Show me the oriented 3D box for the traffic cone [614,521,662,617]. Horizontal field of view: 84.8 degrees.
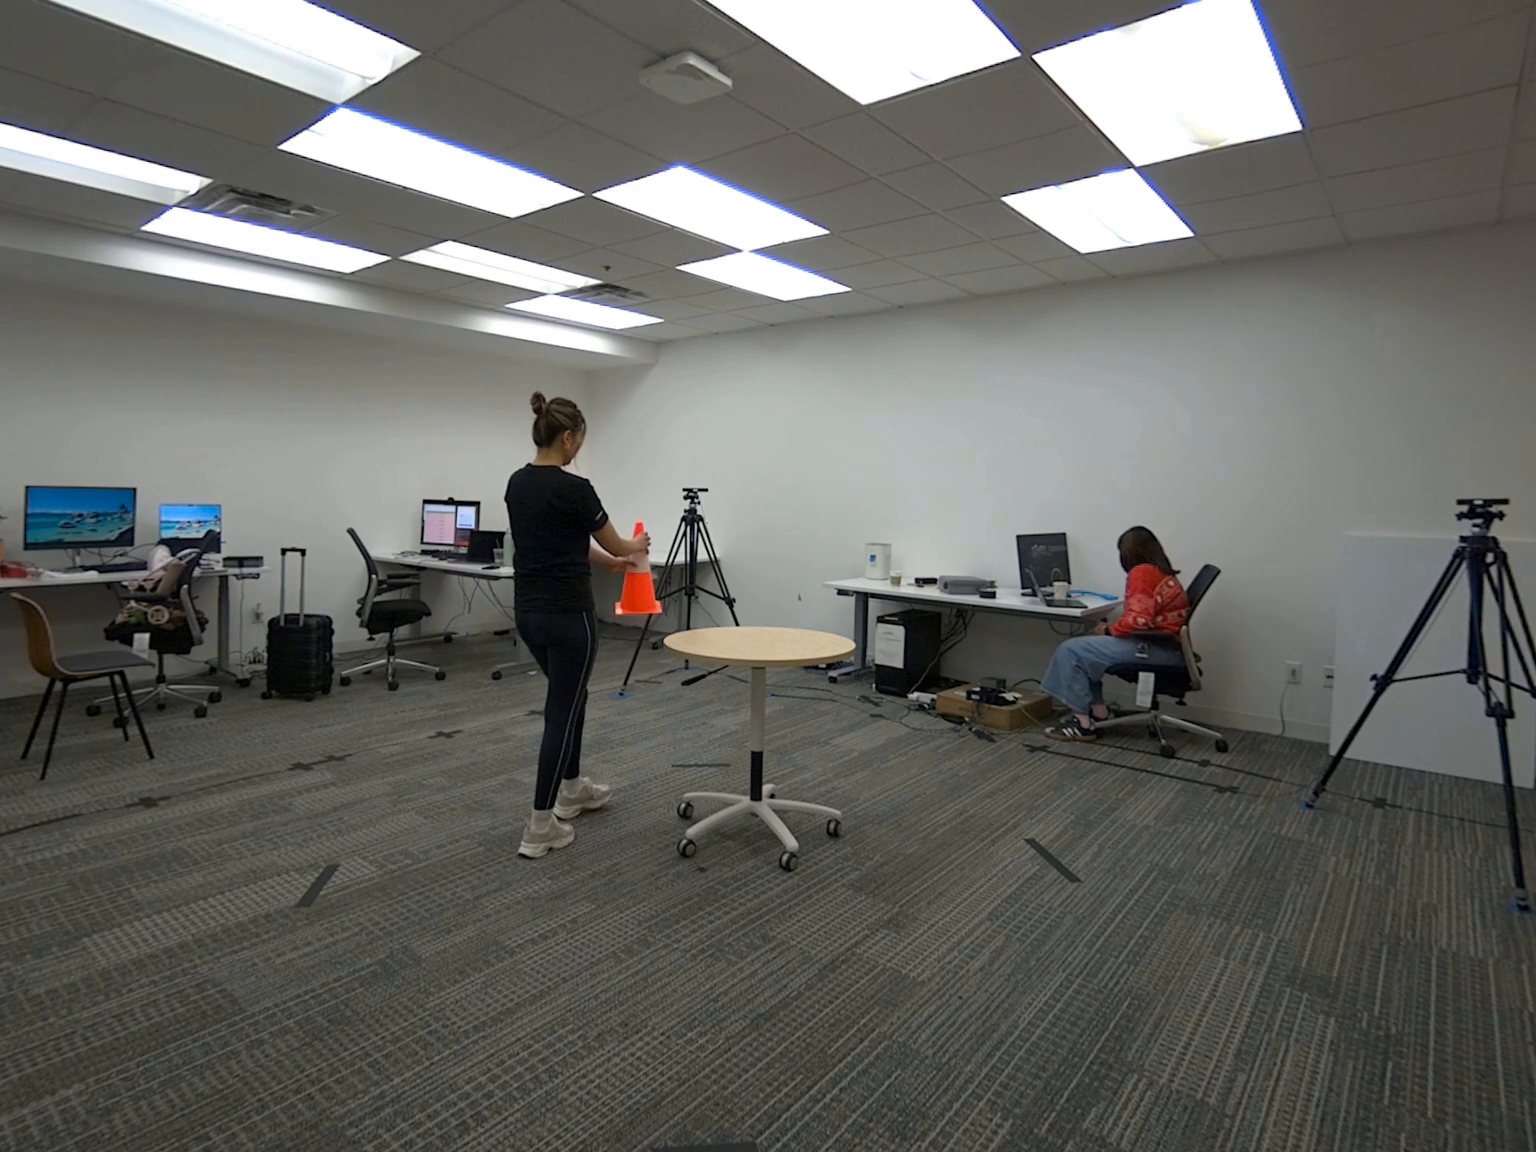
[{"bbox_3d":[-0.575,-0.051,3.693,0.203,0.380,0.207,0,10,-9],"label":"traffic cone"}]
